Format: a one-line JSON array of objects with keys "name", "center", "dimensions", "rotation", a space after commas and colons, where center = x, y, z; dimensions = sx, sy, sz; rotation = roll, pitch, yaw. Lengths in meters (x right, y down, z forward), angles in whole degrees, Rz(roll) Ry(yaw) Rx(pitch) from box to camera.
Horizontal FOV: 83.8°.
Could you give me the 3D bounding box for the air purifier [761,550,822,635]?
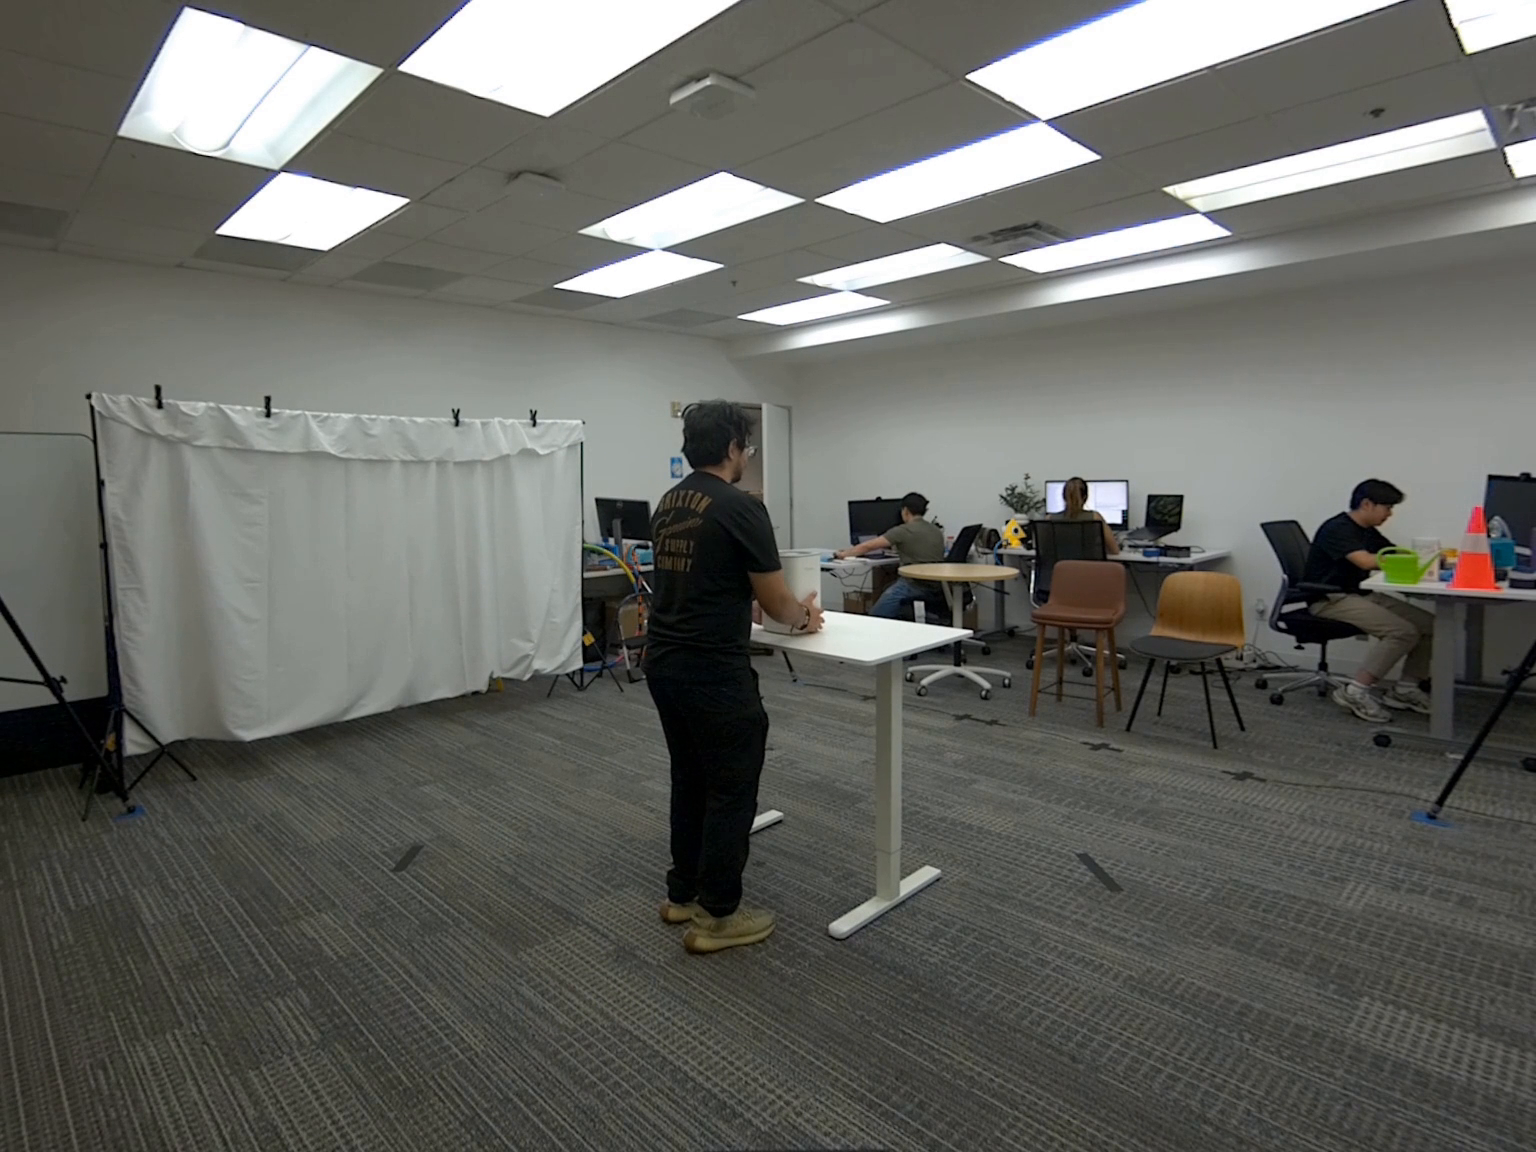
[{"name": "air purifier", "center": [0.079, 0.053, 2.889], "dimensions": [0.166, 0.264, 0.177], "rotation": [-5, 8, -45]}]
